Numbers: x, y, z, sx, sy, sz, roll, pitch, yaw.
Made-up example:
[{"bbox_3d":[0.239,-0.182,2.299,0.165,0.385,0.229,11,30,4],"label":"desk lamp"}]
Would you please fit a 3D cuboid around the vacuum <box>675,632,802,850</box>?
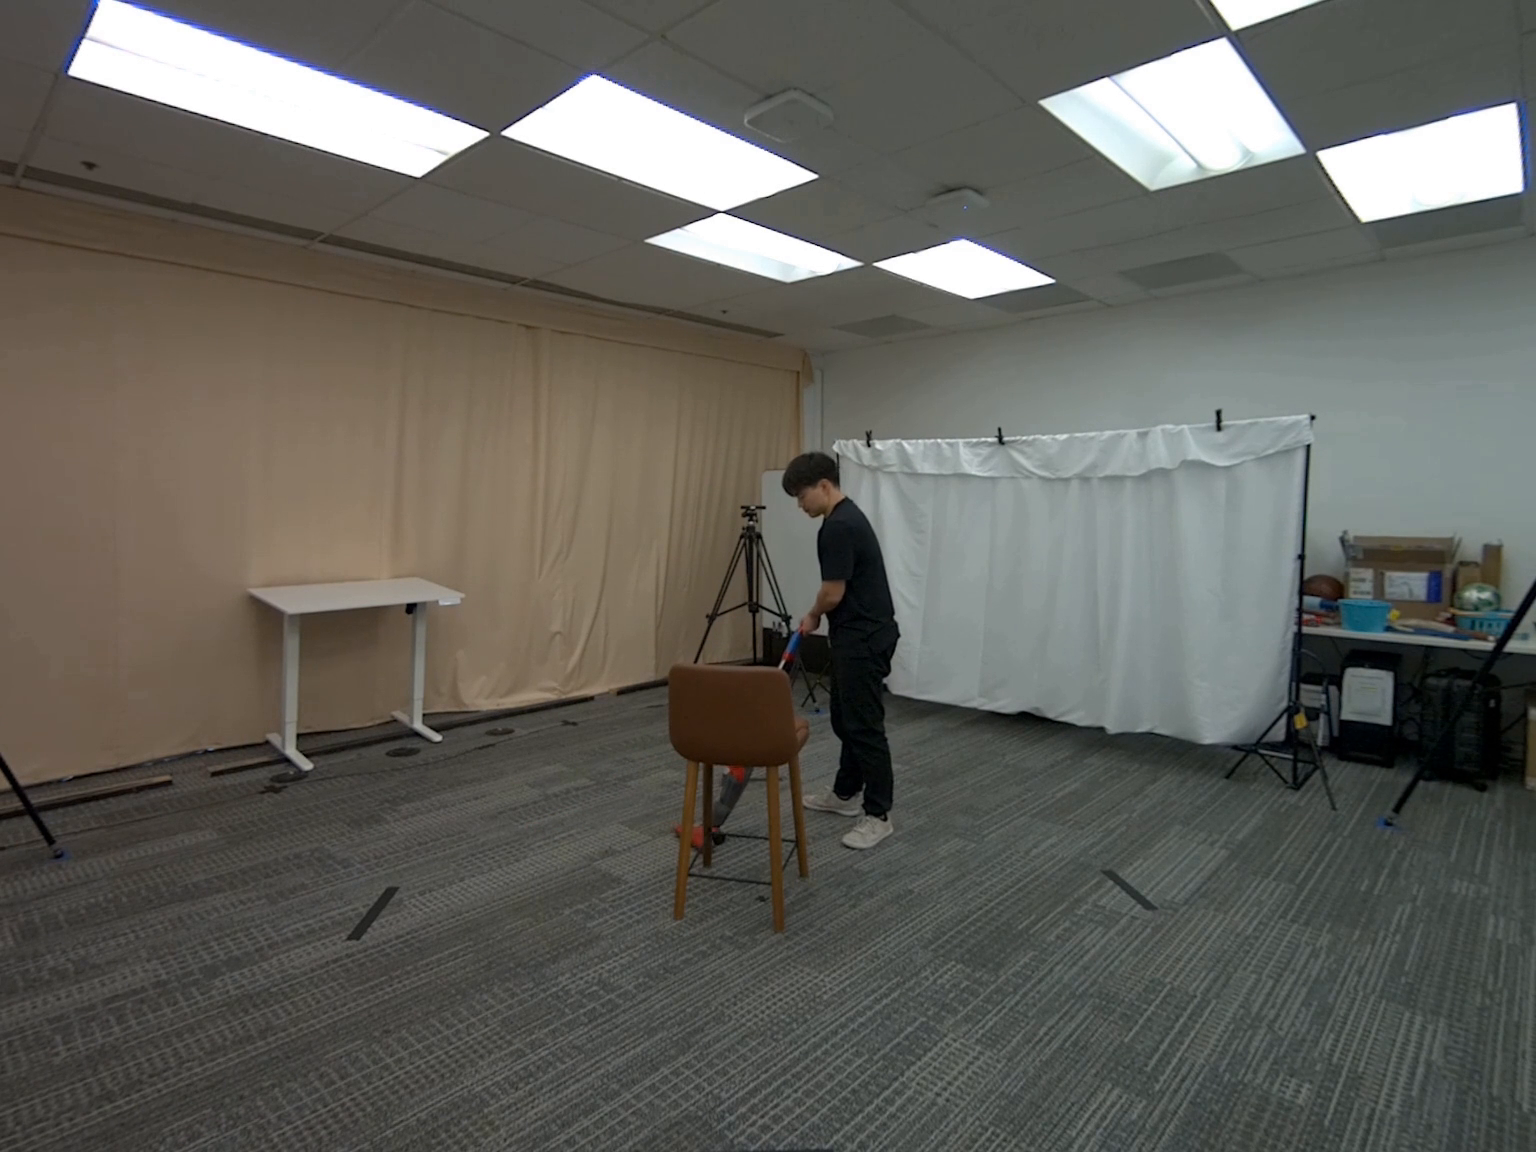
[{"bbox_3d":[-0.038,0.641,3.626,0.139,1.050,0.261,36,-16,-33],"label":"vacuum"}]
